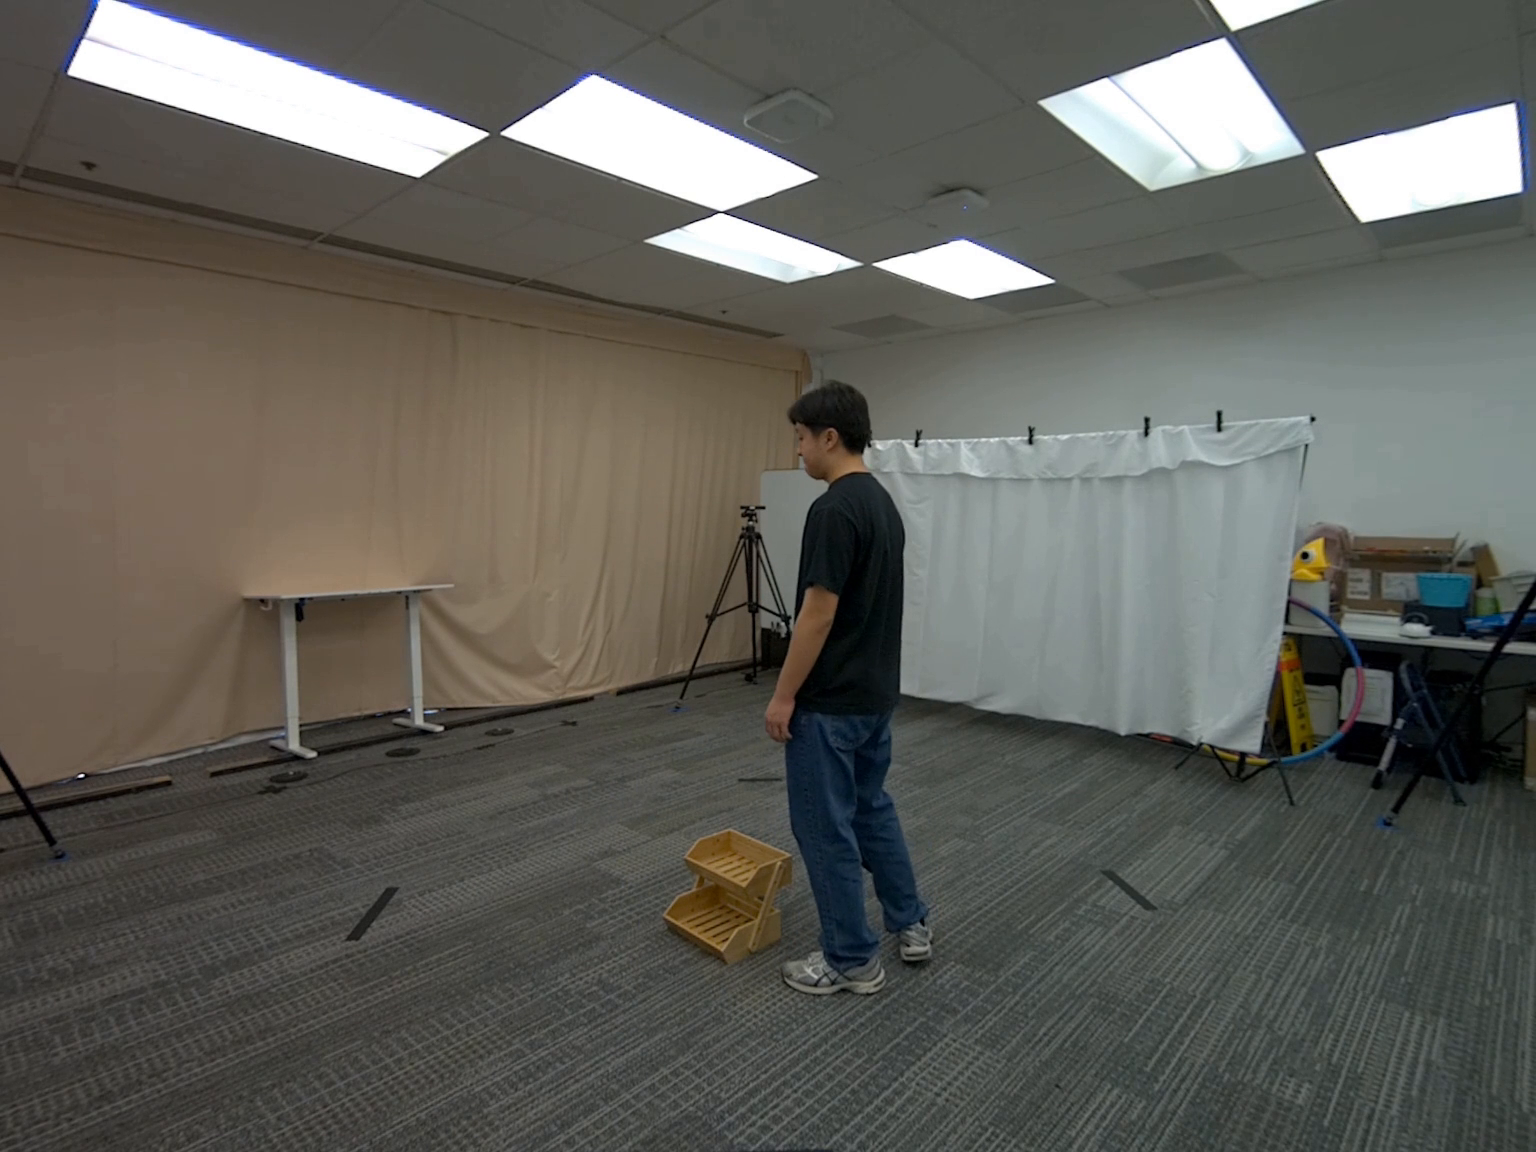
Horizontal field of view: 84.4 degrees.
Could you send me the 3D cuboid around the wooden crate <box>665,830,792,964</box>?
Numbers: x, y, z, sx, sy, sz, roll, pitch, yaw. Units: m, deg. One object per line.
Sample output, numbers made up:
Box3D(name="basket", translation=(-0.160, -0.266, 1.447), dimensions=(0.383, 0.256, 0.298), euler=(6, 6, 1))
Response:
Box3D(name="wooden crate", translation=(-0.132, 1.032, 2.747), dimensions=(0.293, 0.273, 0.335), euler=(-3, 5, -43))
